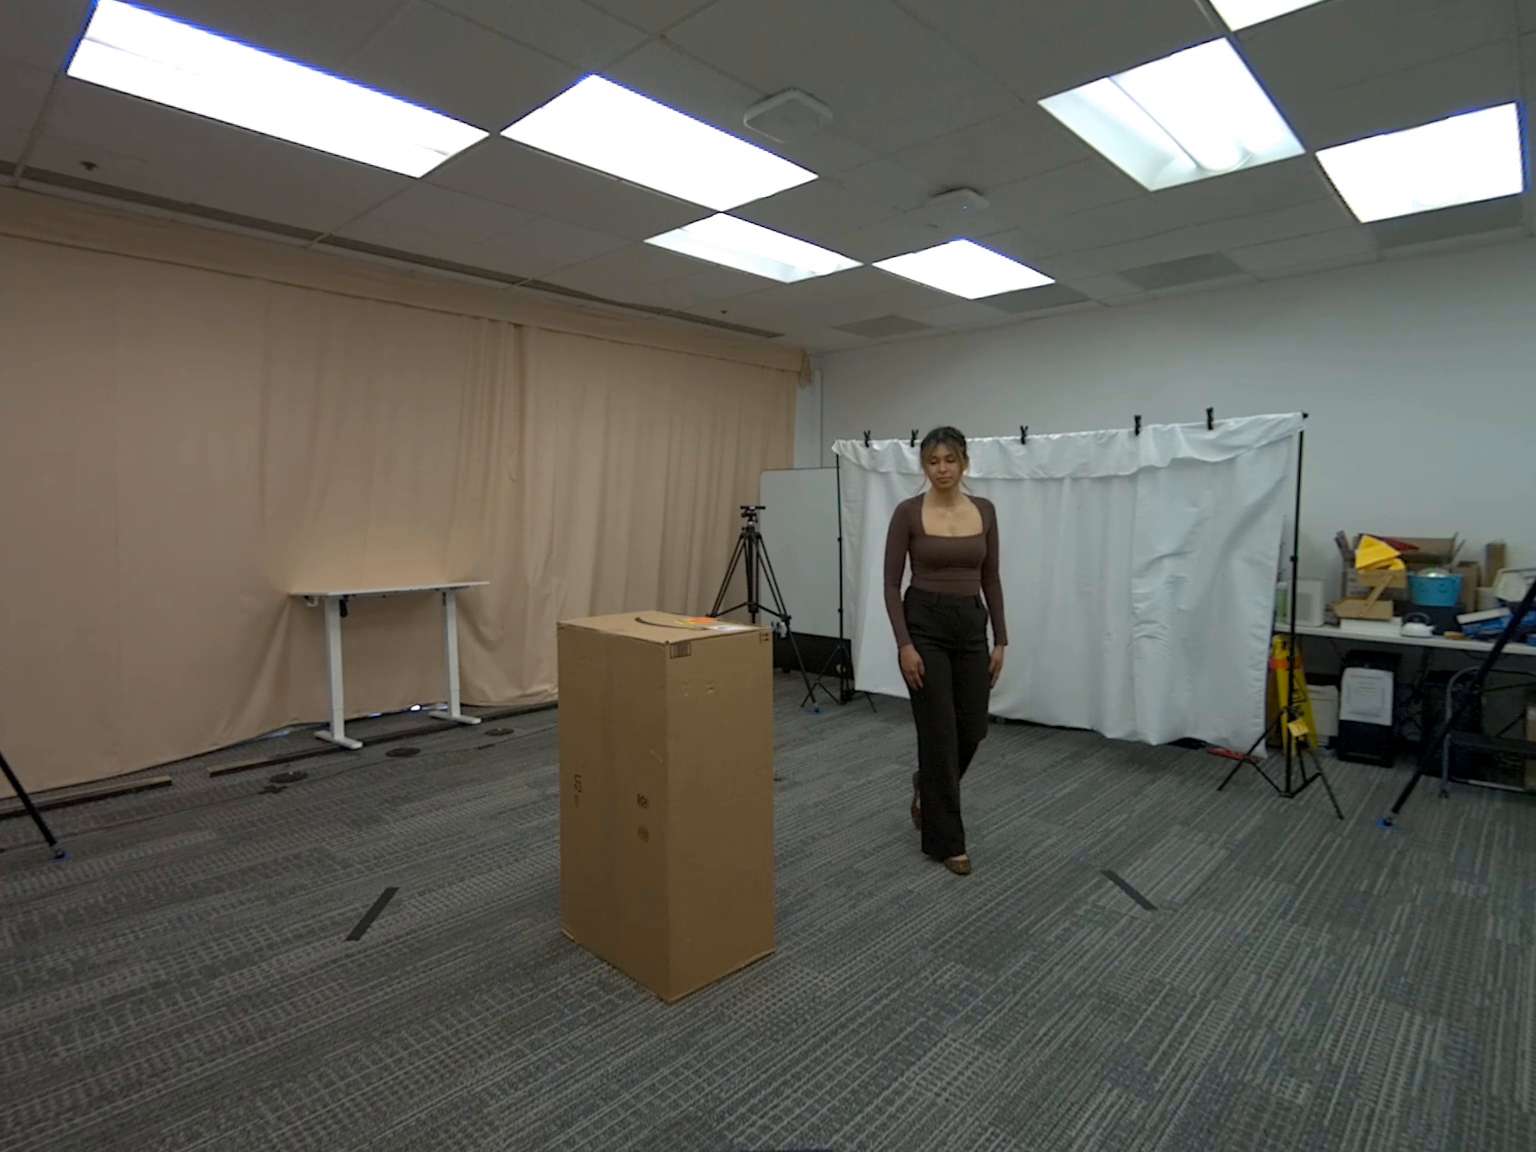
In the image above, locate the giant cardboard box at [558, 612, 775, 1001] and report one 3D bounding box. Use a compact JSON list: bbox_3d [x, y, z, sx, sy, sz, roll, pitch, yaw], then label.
[{"bbox_3d":[-0.329,0.661,2.678,0.433,1.025,0.603,-2,3,-43],"label":"giant cardboard box"}]
